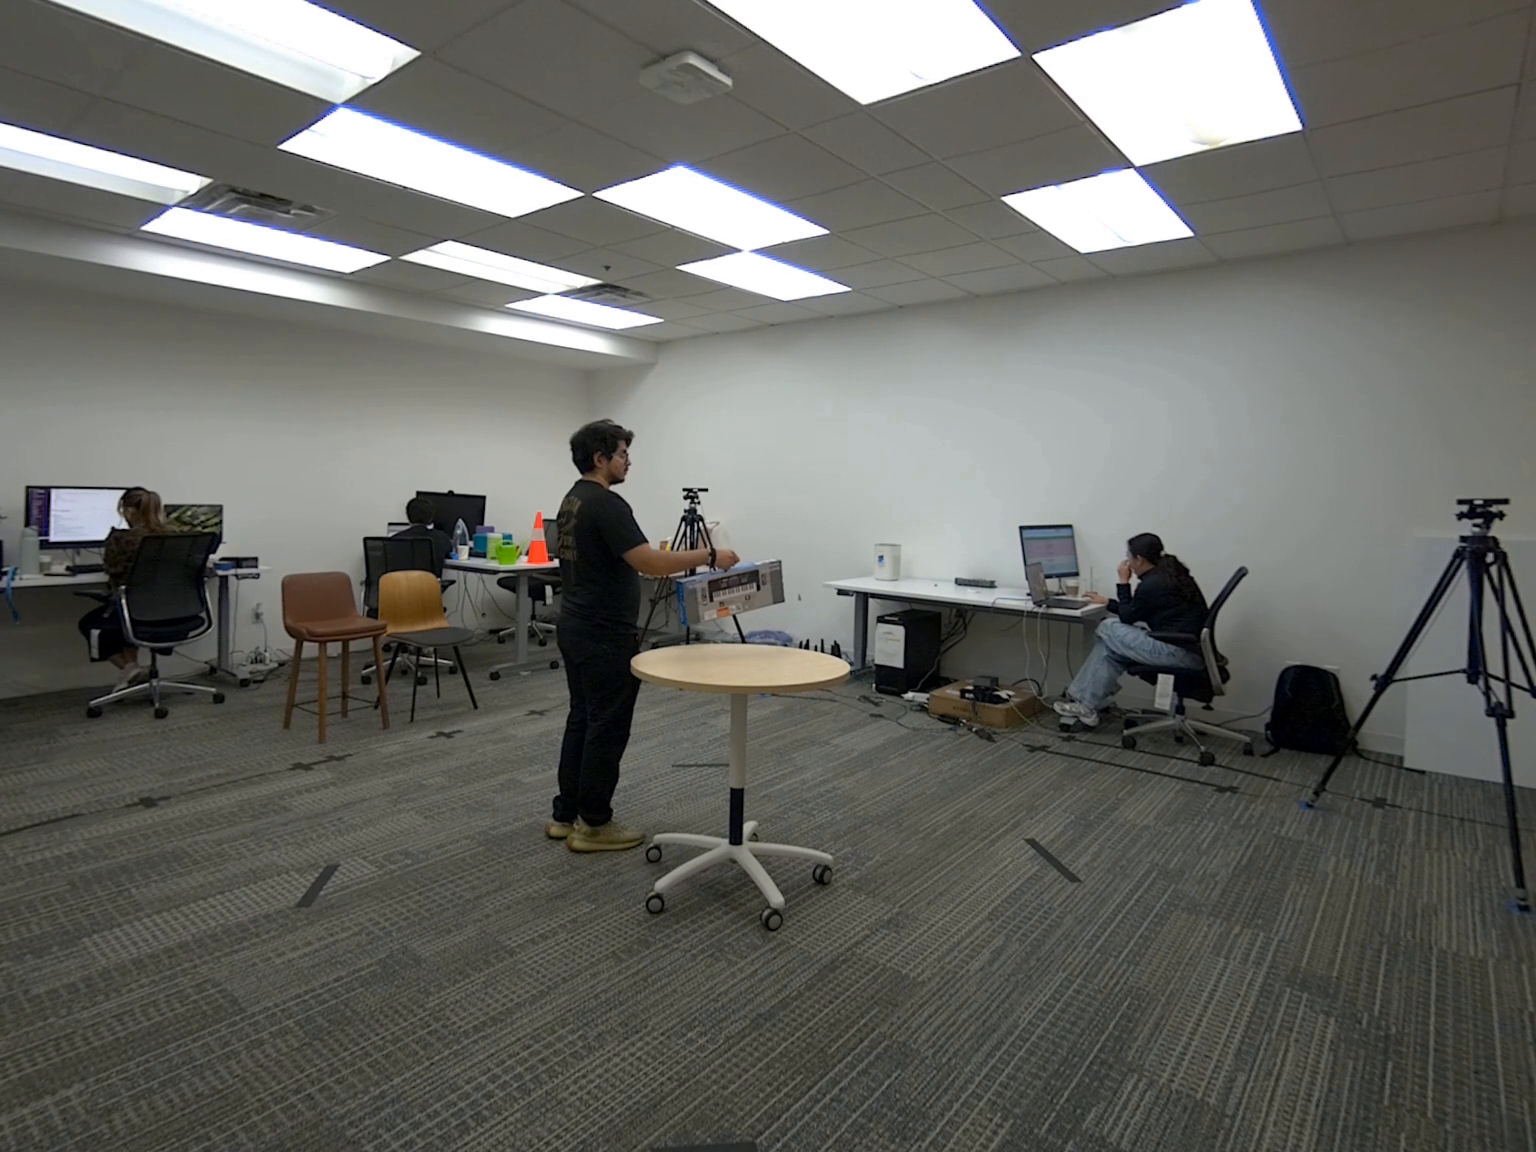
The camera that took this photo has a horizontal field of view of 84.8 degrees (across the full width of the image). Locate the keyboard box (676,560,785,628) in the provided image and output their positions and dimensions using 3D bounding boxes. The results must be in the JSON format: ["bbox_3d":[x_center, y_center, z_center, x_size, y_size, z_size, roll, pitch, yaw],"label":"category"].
[{"bbox_3d":[-0.150,0.069,3.281,0.428,0.174,0.061,-13,12,-27],"label":"keyboard box"}]
